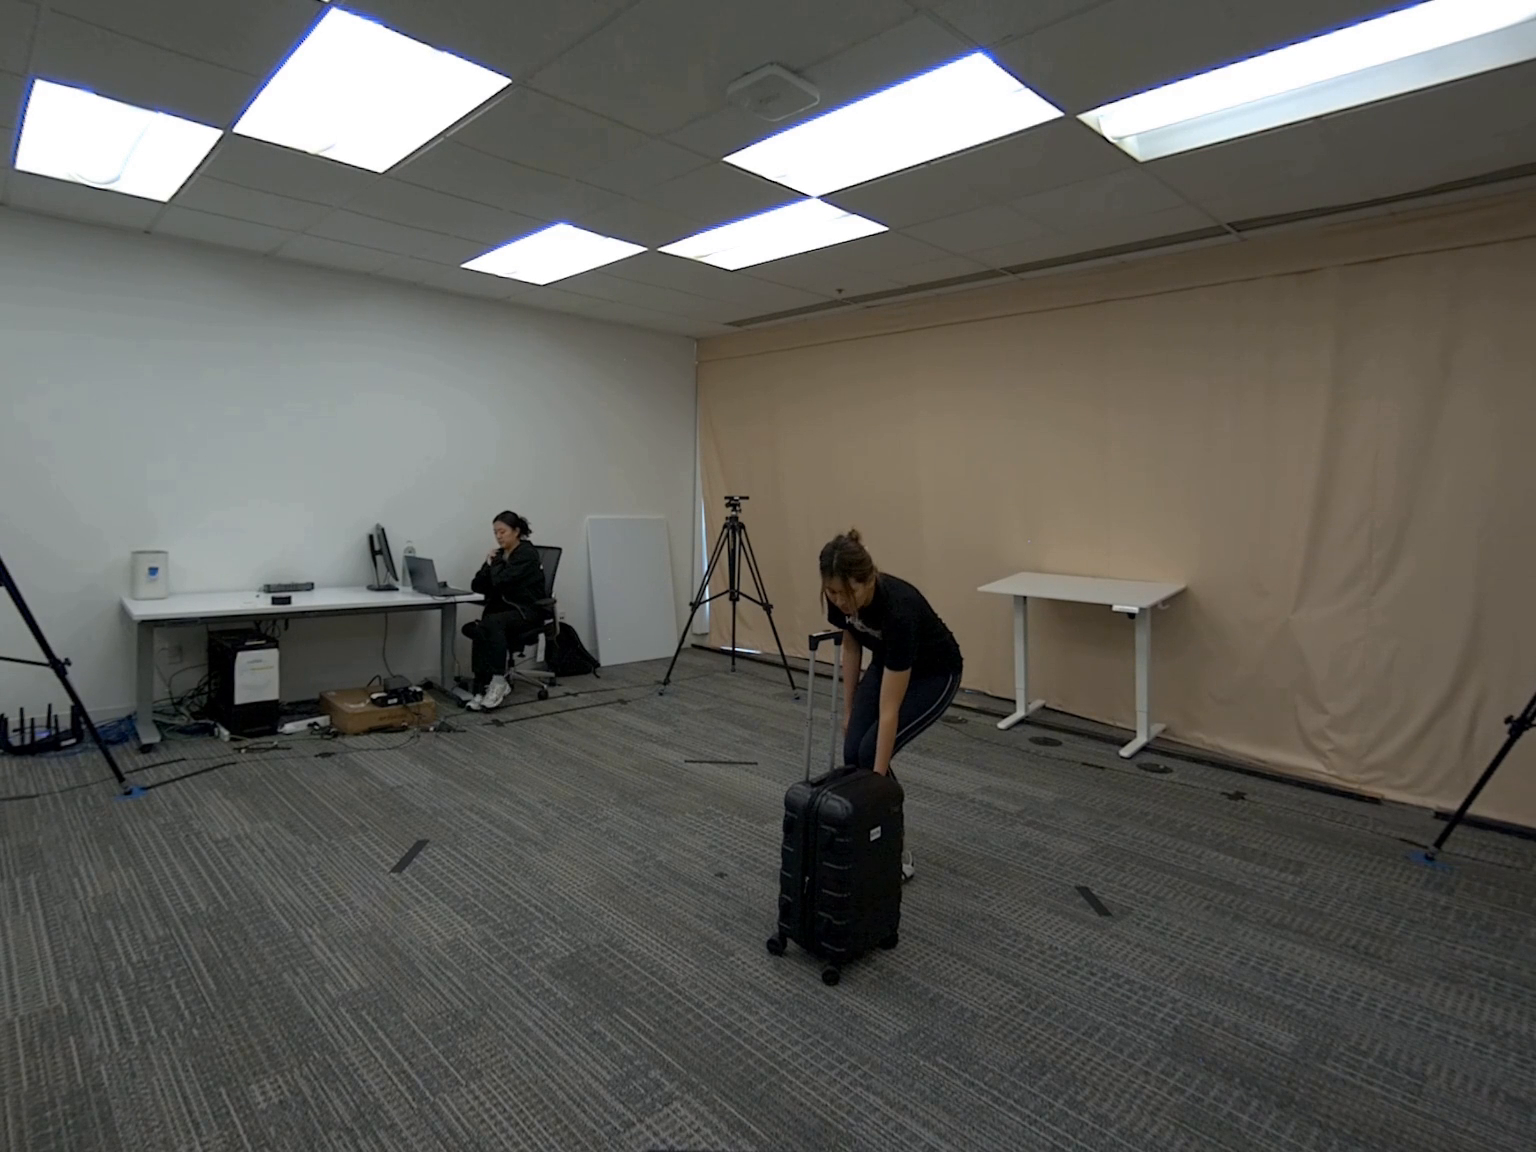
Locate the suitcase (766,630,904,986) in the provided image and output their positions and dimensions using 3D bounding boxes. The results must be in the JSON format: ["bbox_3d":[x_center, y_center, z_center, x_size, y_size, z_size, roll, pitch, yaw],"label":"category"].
[{"bbox_3d":[0.242,0.687,2.574,0.264,0.976,0.375,8,5,41],"label":"suitcase"}]
